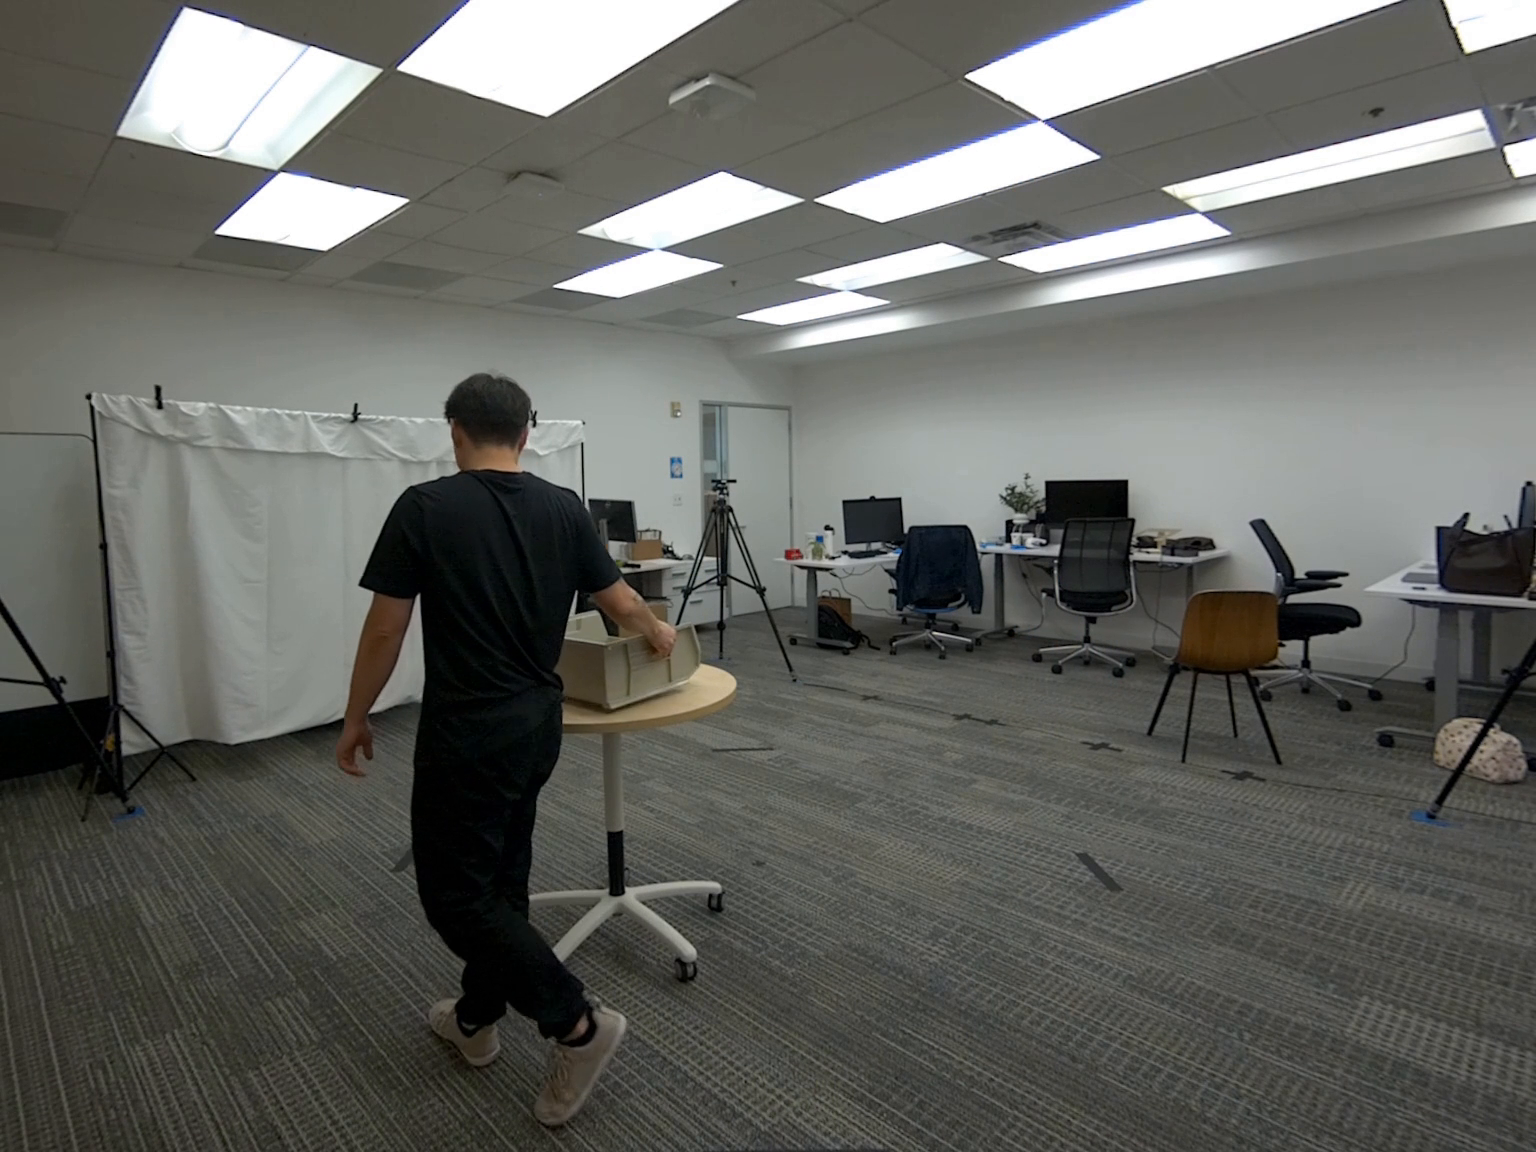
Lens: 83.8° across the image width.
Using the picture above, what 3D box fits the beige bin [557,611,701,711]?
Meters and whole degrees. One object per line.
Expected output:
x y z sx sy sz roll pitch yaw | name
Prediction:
-0.473 0.232 2.527 0.435 0.188 0.369 4 11 39 | beige bin
